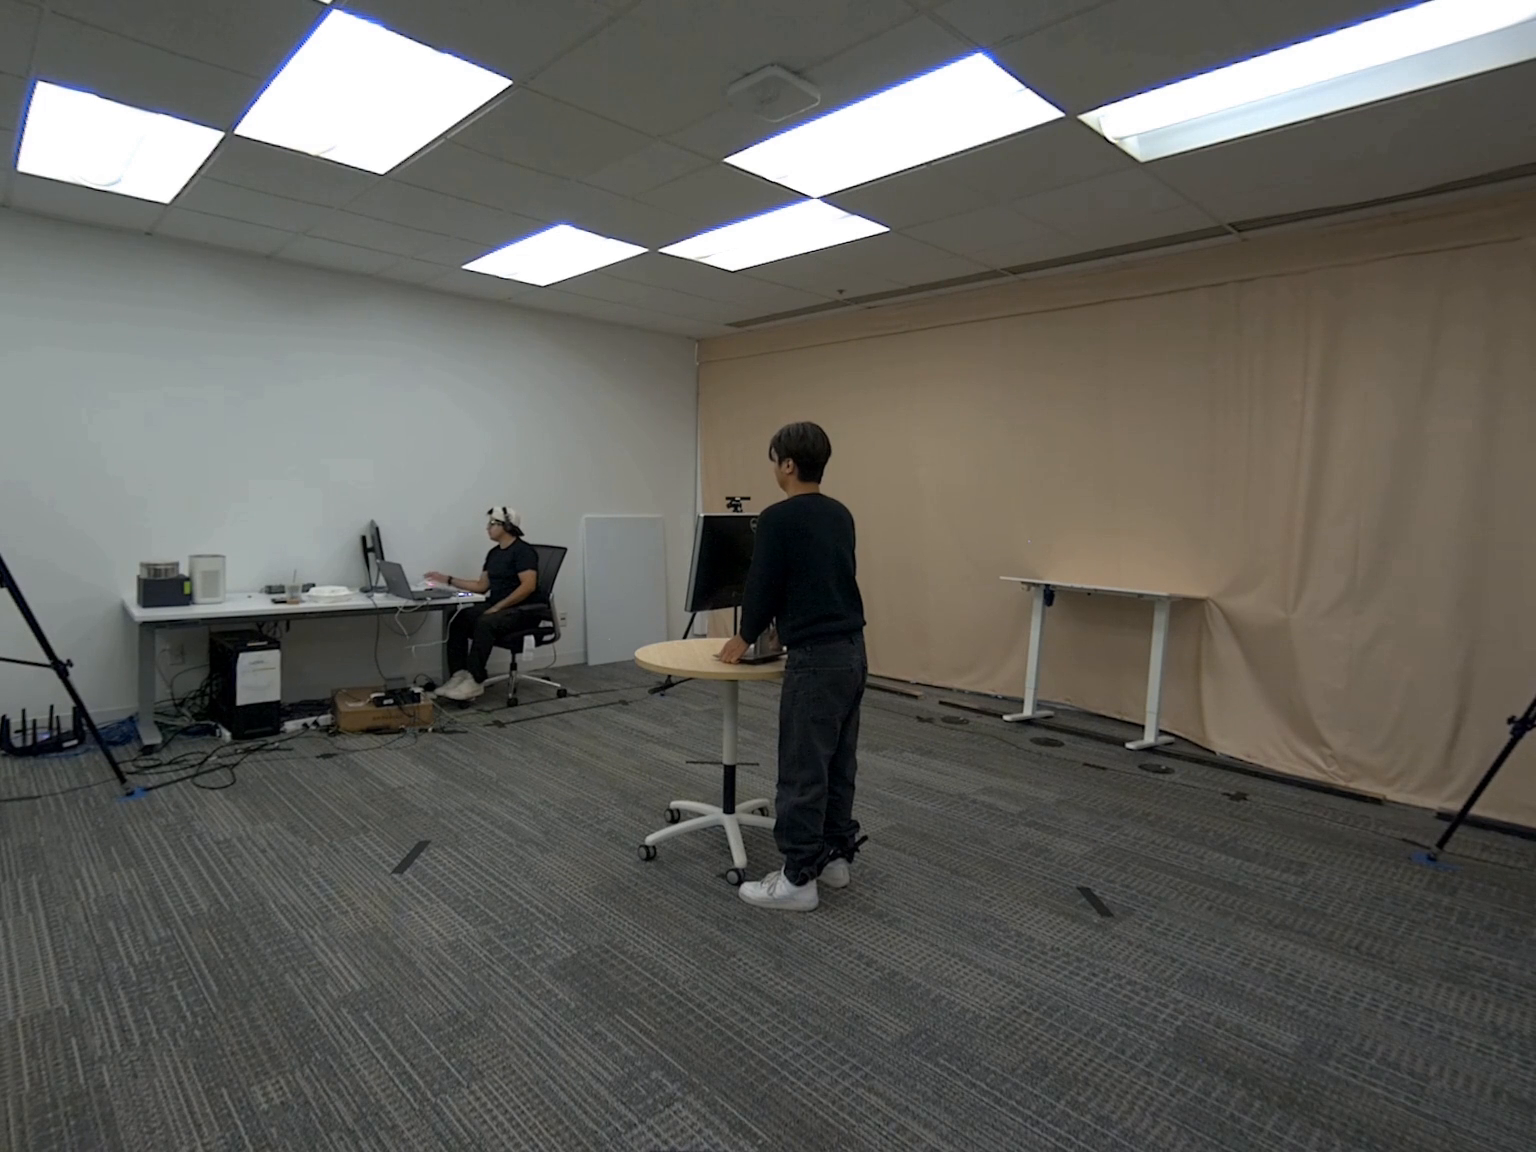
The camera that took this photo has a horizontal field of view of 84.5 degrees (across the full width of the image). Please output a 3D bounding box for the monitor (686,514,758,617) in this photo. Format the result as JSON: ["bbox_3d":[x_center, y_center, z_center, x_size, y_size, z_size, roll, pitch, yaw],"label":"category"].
[{"bbox_3d":[-0.069,0.035,3.200,0.191,0.522,0.527,0,2,38],"label":"monitor"}]
